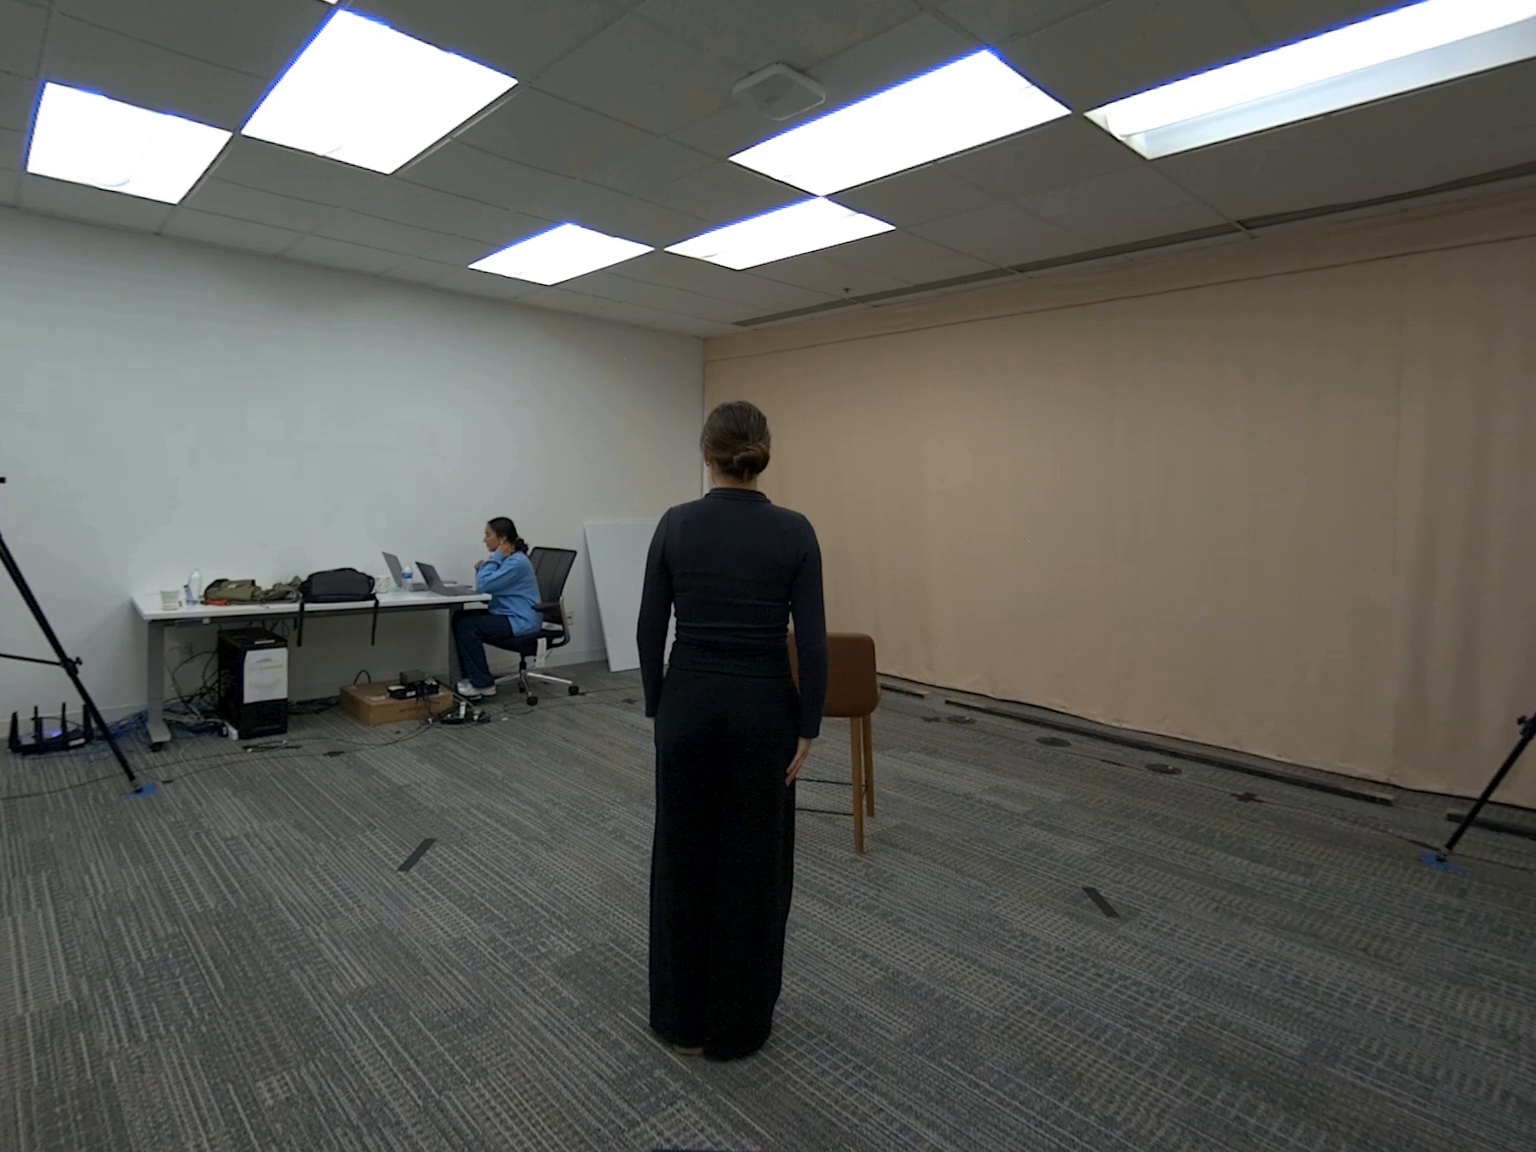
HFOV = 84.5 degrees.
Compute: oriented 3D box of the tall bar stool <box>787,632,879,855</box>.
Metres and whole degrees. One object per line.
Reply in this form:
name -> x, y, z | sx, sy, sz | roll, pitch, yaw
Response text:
tall bar stool -> 0.233, 0.639, 3.539 | 0.461, 0.887, 0.464 | 2, 4, 13
